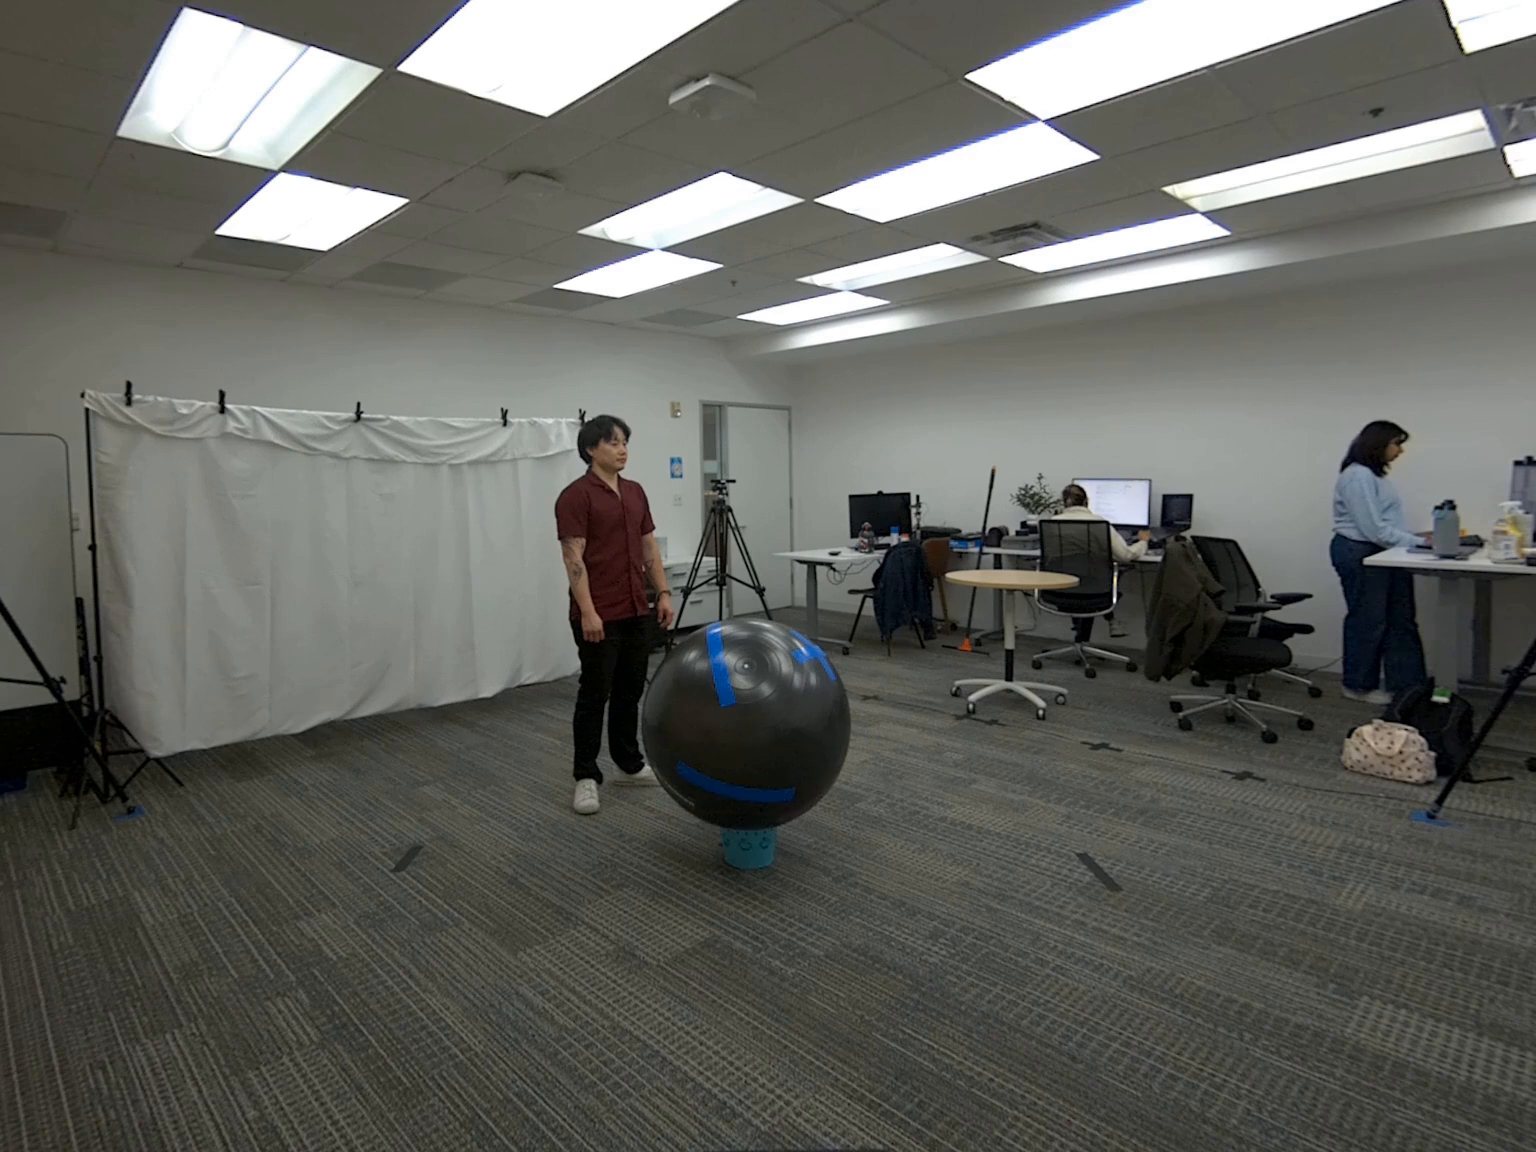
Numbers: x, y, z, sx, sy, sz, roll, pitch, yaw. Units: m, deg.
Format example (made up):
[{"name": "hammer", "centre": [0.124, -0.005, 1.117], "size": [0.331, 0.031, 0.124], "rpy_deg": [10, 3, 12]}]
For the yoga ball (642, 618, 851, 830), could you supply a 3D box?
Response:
[{"name": "yoga ball", "centre": [-0.084, 0.531, 3.127], "size": [0.757, 0.755, 0.762], "rpy_deg": [-1, 5, -2]}]
